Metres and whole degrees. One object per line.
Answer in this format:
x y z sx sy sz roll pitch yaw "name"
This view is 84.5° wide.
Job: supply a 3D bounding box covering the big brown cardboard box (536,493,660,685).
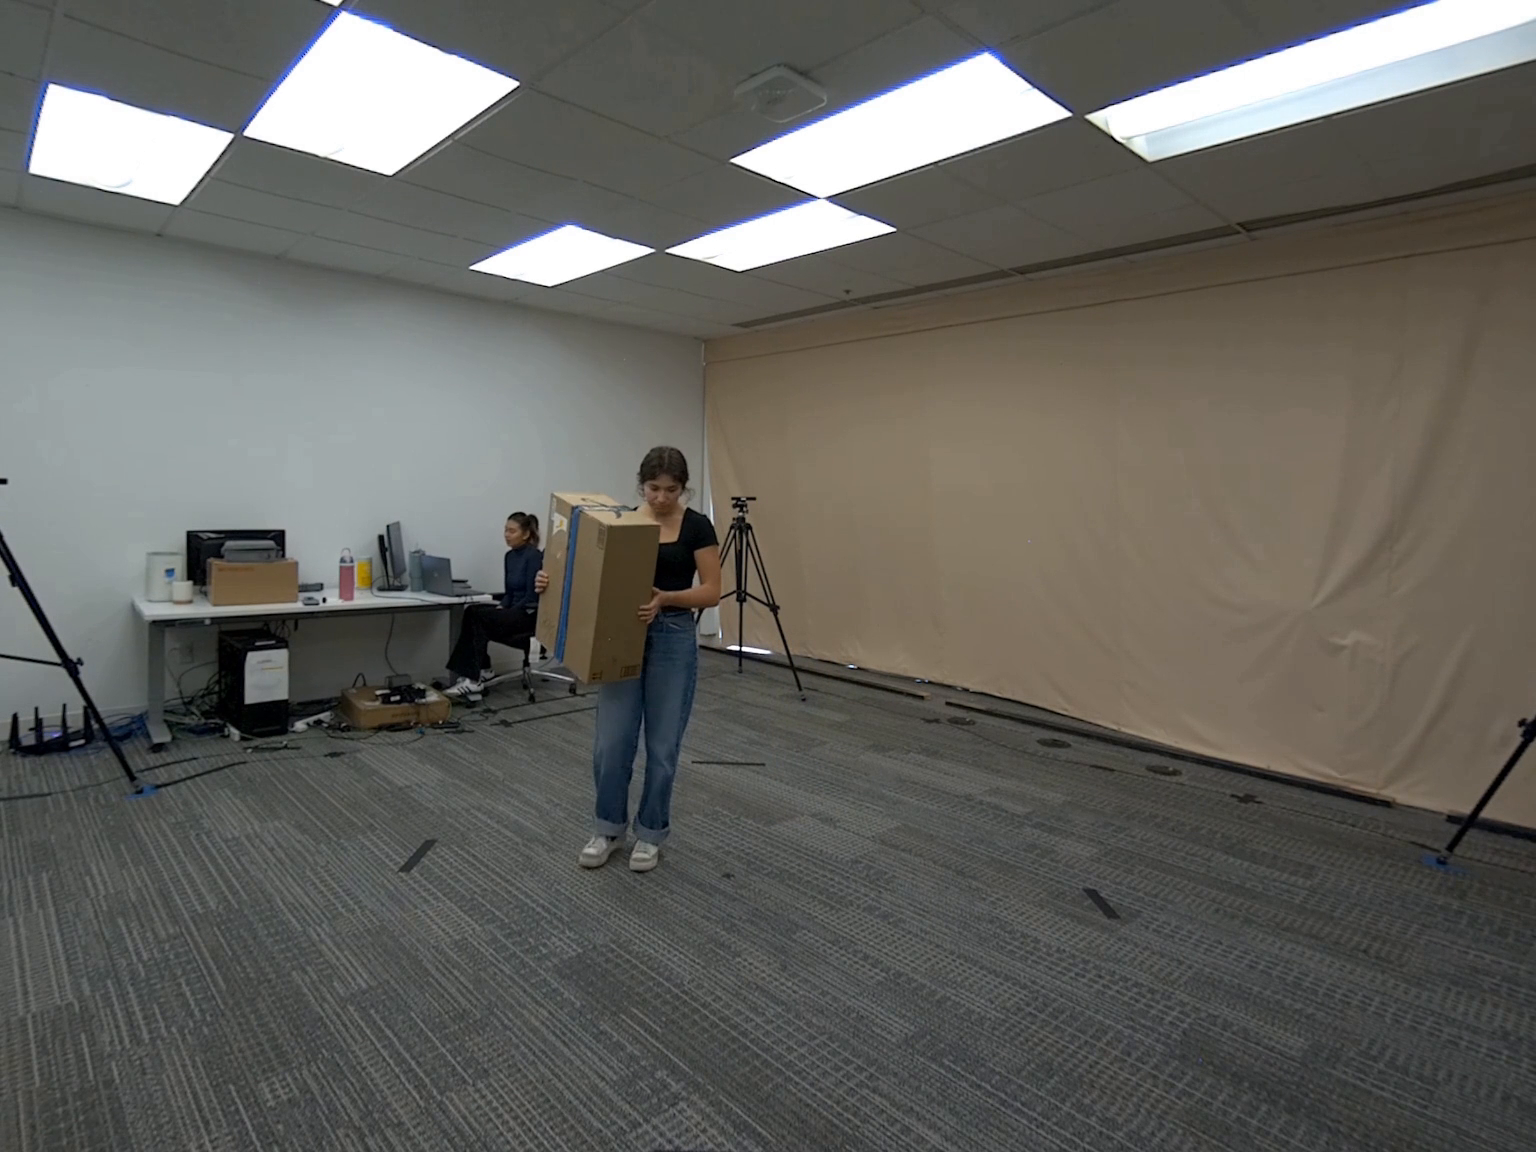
-0.625 0.030 2.991 0.228 0.584 0.430 -3 19 -40 "big brown cardboard box"
